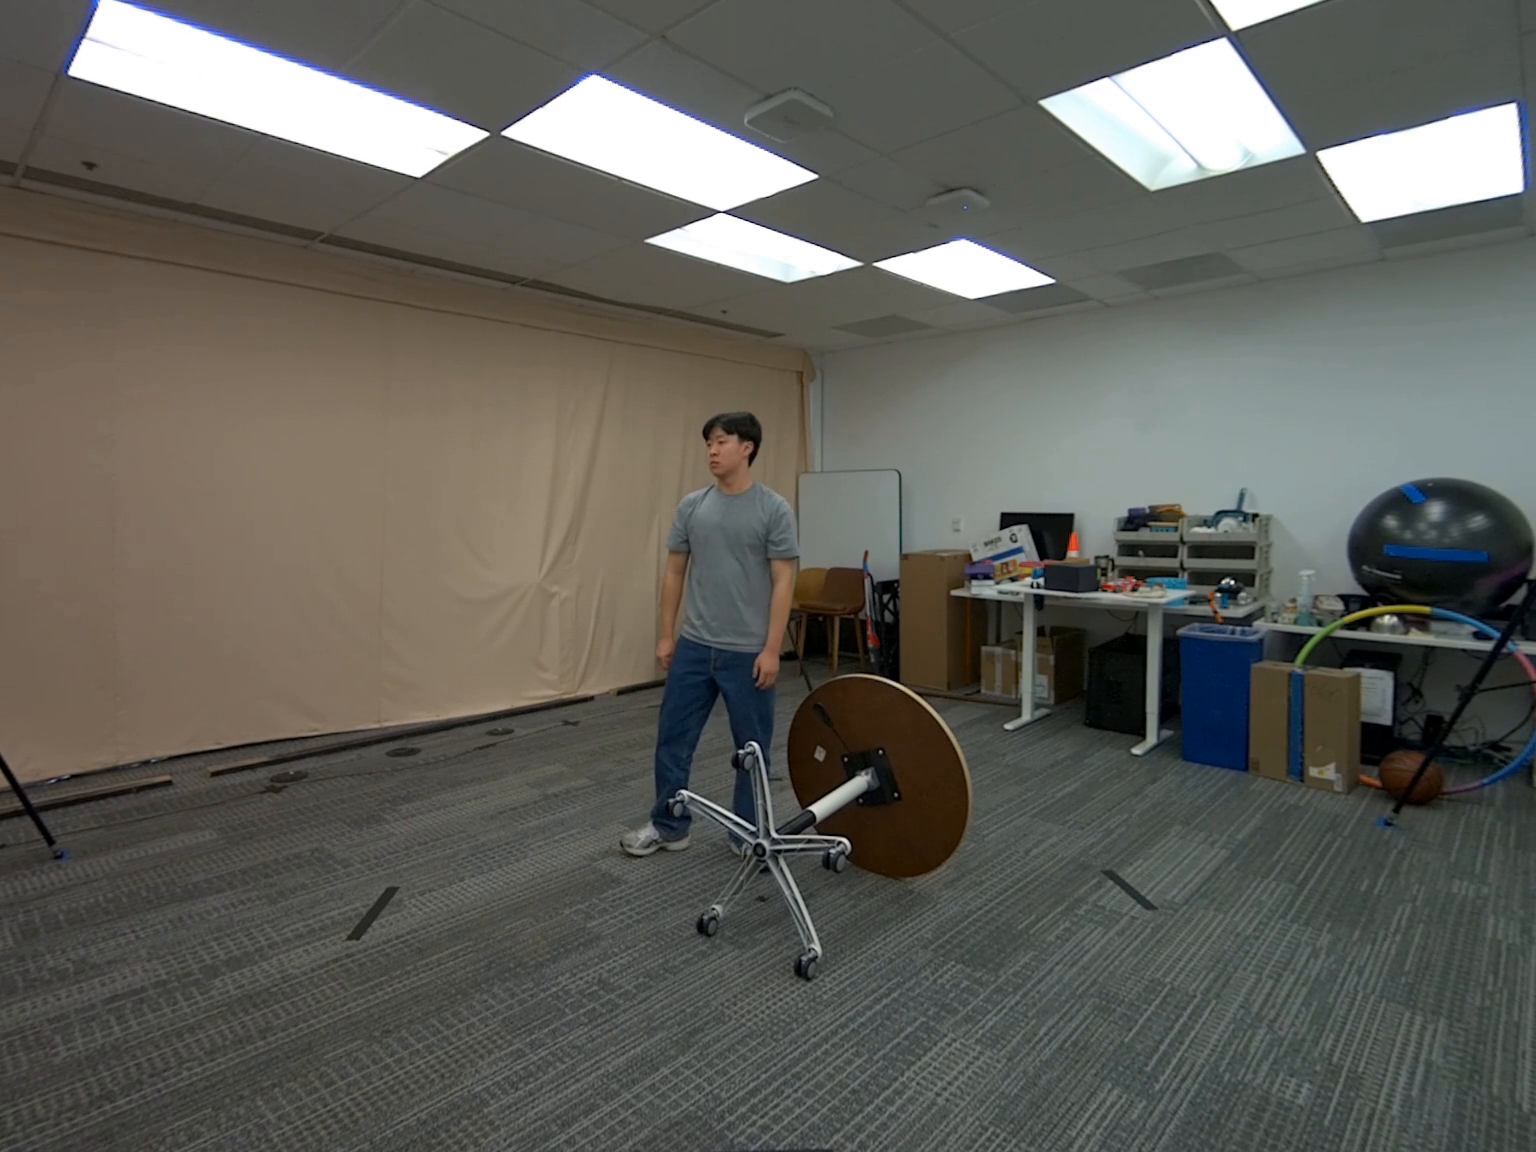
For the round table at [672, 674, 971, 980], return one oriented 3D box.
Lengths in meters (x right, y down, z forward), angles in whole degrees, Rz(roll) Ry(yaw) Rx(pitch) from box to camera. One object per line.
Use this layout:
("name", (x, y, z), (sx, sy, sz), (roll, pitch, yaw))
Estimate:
("round table", (0.175, 0.810, 2.853), (0.789, 0.759, 0.773), (3, 11, 38))
